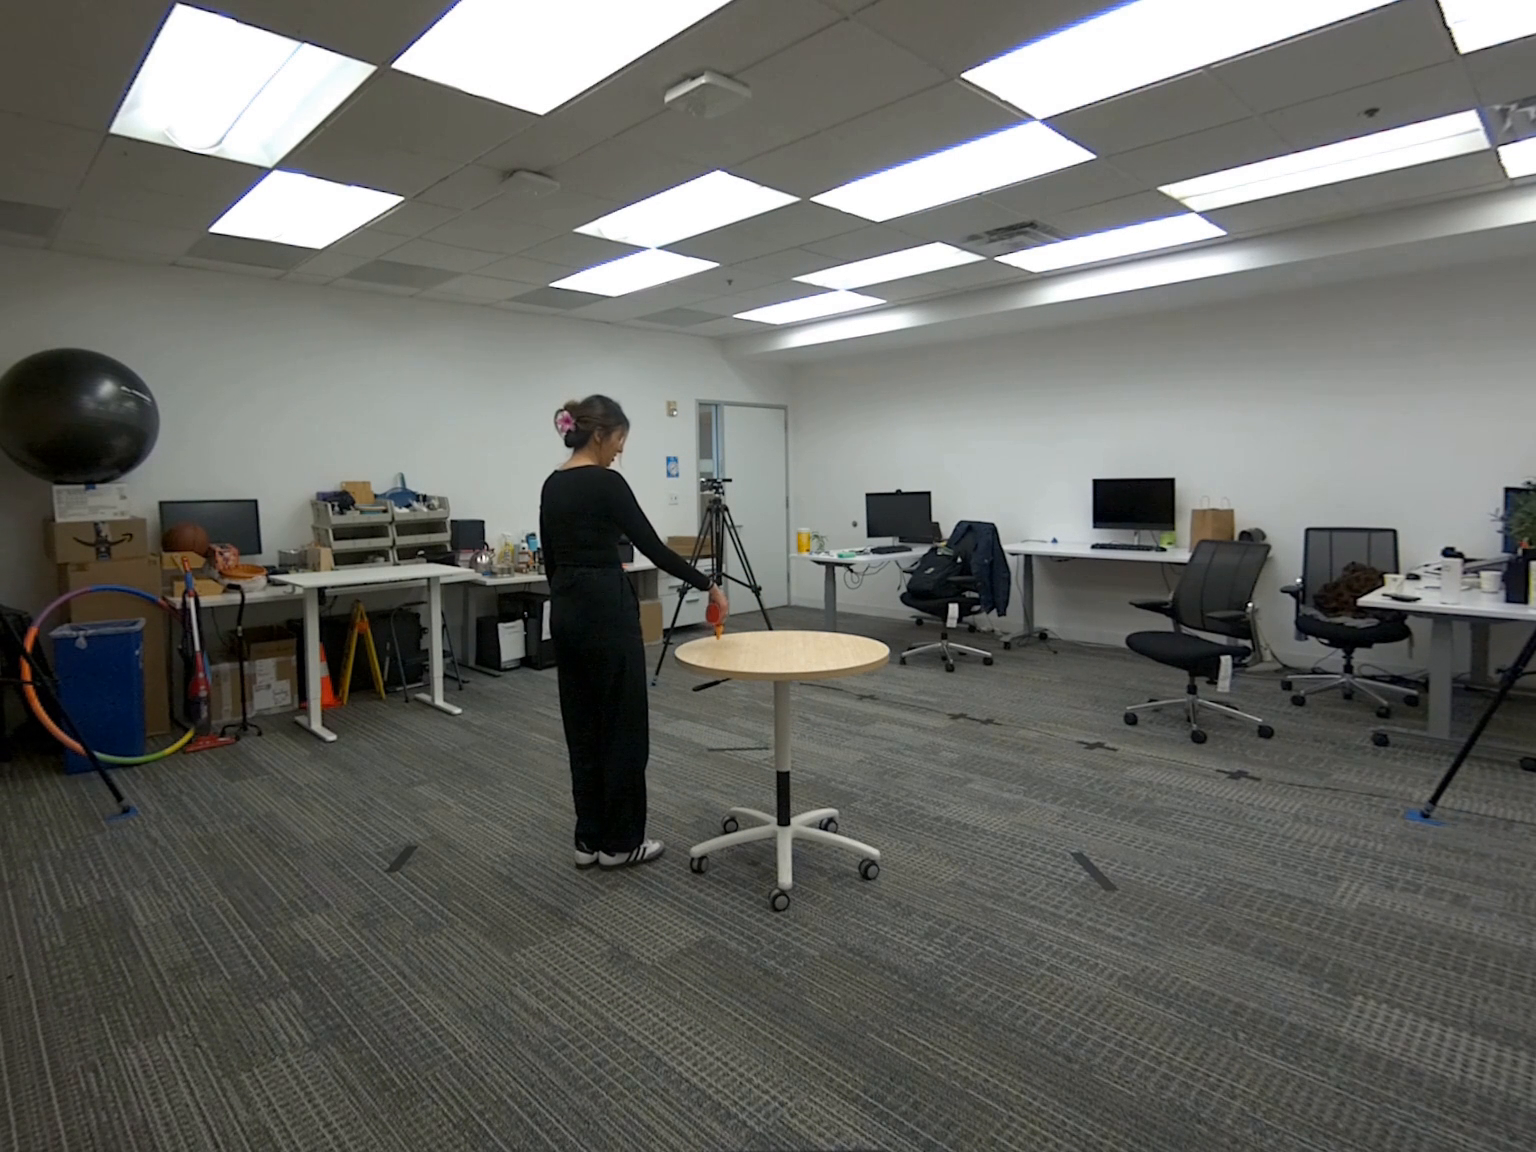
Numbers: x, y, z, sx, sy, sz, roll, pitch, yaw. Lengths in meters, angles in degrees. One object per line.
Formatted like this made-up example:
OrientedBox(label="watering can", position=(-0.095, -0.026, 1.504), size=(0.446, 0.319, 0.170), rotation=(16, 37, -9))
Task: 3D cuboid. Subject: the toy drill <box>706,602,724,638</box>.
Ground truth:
OrientedBox(label="toy drill", position=(-0.188, 0.161, 3.154), size=(0.062, 0.169, 0.145), rotation=(3, 8, 8))
